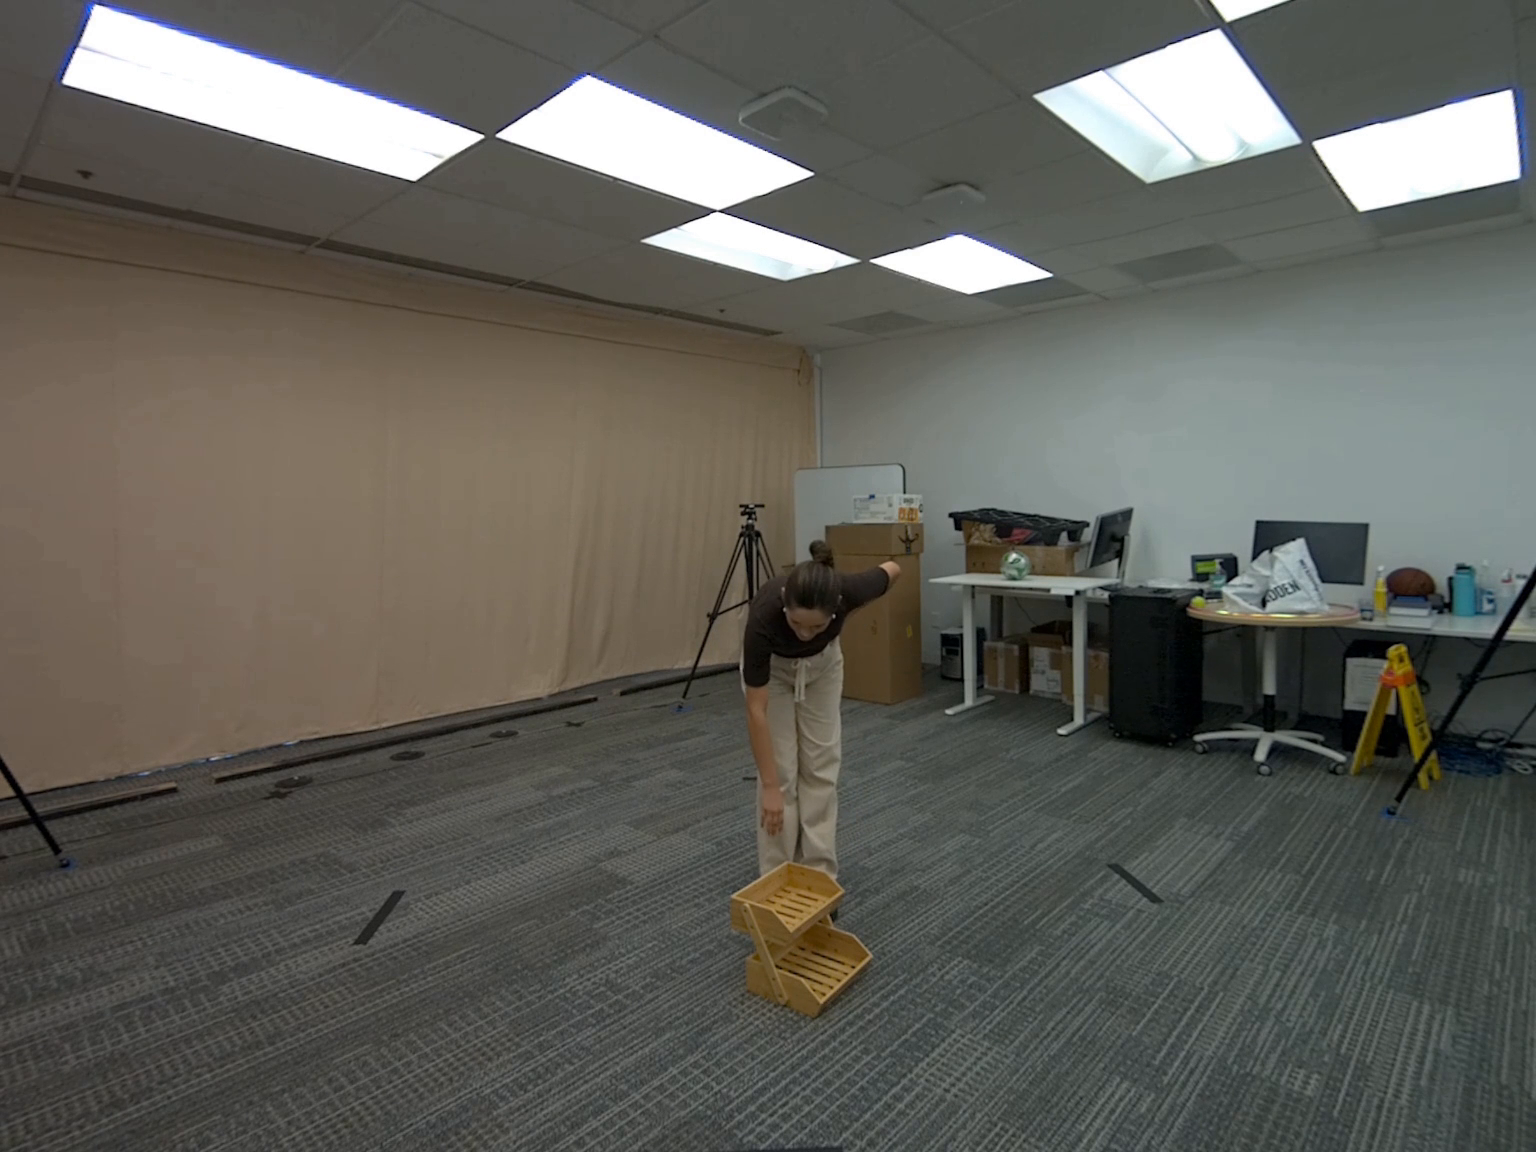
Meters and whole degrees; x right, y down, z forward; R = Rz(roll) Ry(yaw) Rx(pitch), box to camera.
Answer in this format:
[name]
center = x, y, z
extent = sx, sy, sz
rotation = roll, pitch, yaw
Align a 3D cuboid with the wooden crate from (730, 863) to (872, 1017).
[wooden crate]
center = 0.105, 1.042, 2.471
extent = 0.311, 0.273, 0.315
rotation = 1, 4, 36
